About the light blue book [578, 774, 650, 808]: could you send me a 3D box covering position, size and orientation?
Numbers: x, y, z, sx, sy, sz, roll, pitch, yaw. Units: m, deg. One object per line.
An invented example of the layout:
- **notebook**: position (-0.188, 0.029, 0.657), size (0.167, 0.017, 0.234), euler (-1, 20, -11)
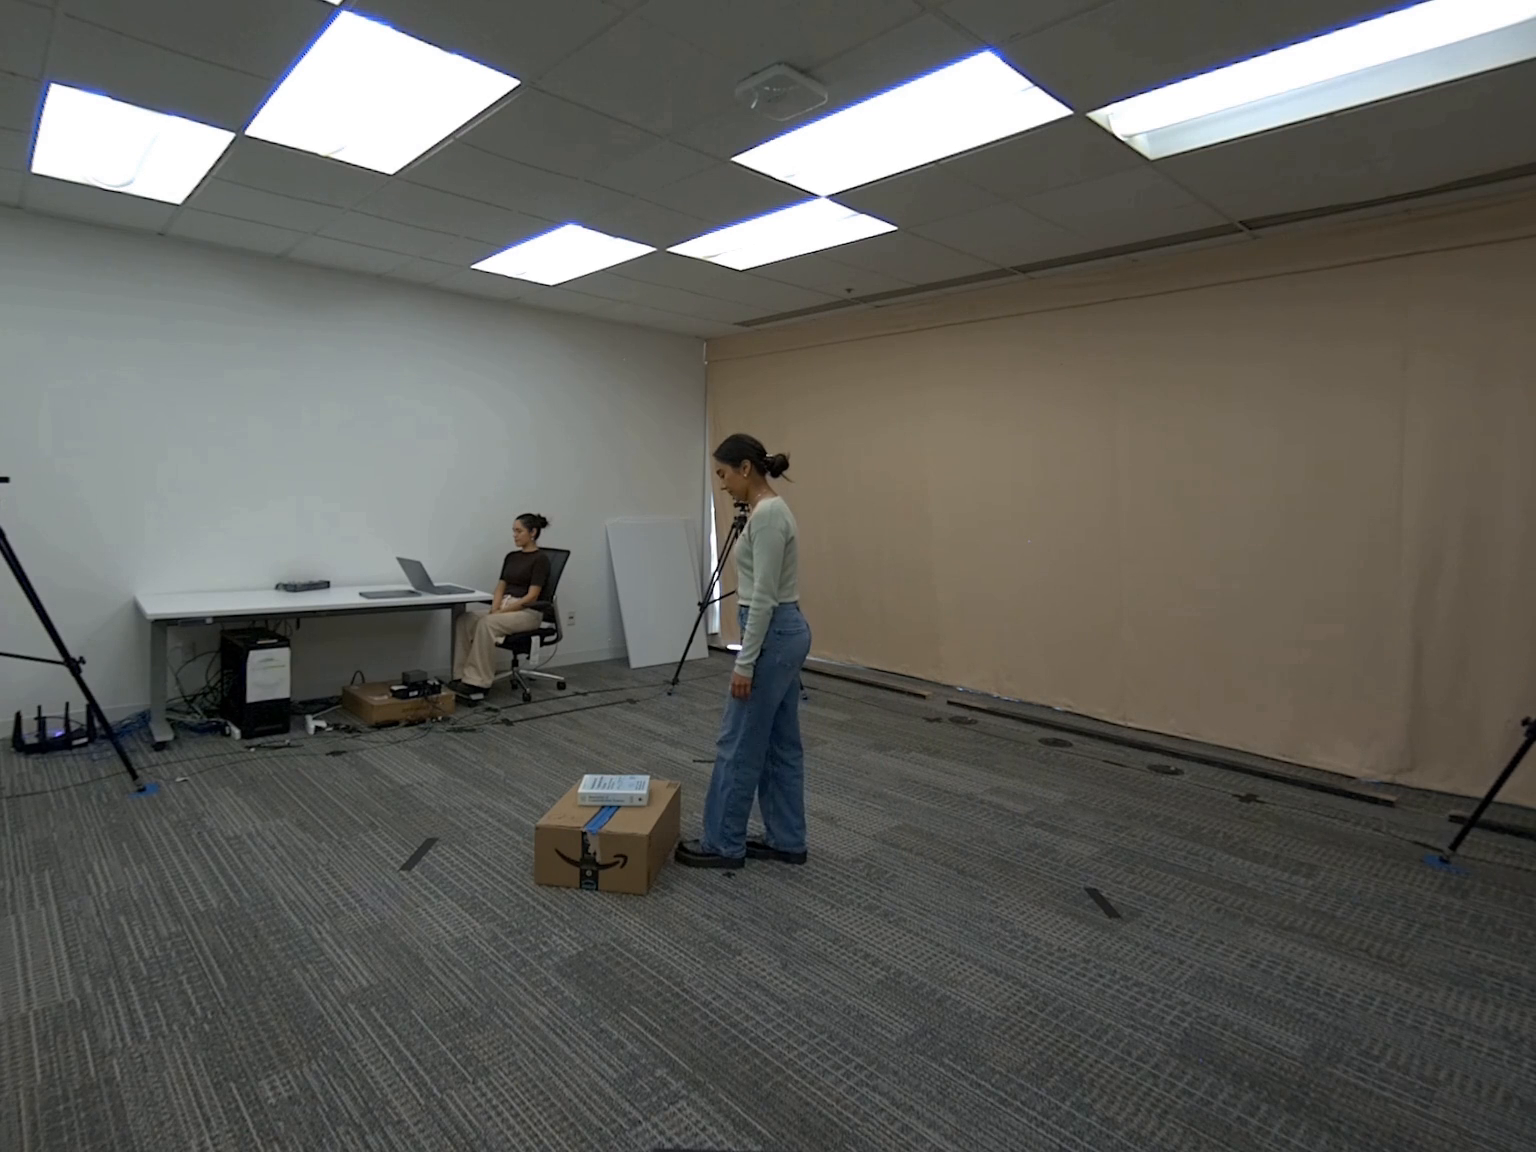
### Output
- **light blue book**: position (-0.598, 0.829, 3.285), size (0.261, 0.059, 0.192), euler (2, 6, -2)
